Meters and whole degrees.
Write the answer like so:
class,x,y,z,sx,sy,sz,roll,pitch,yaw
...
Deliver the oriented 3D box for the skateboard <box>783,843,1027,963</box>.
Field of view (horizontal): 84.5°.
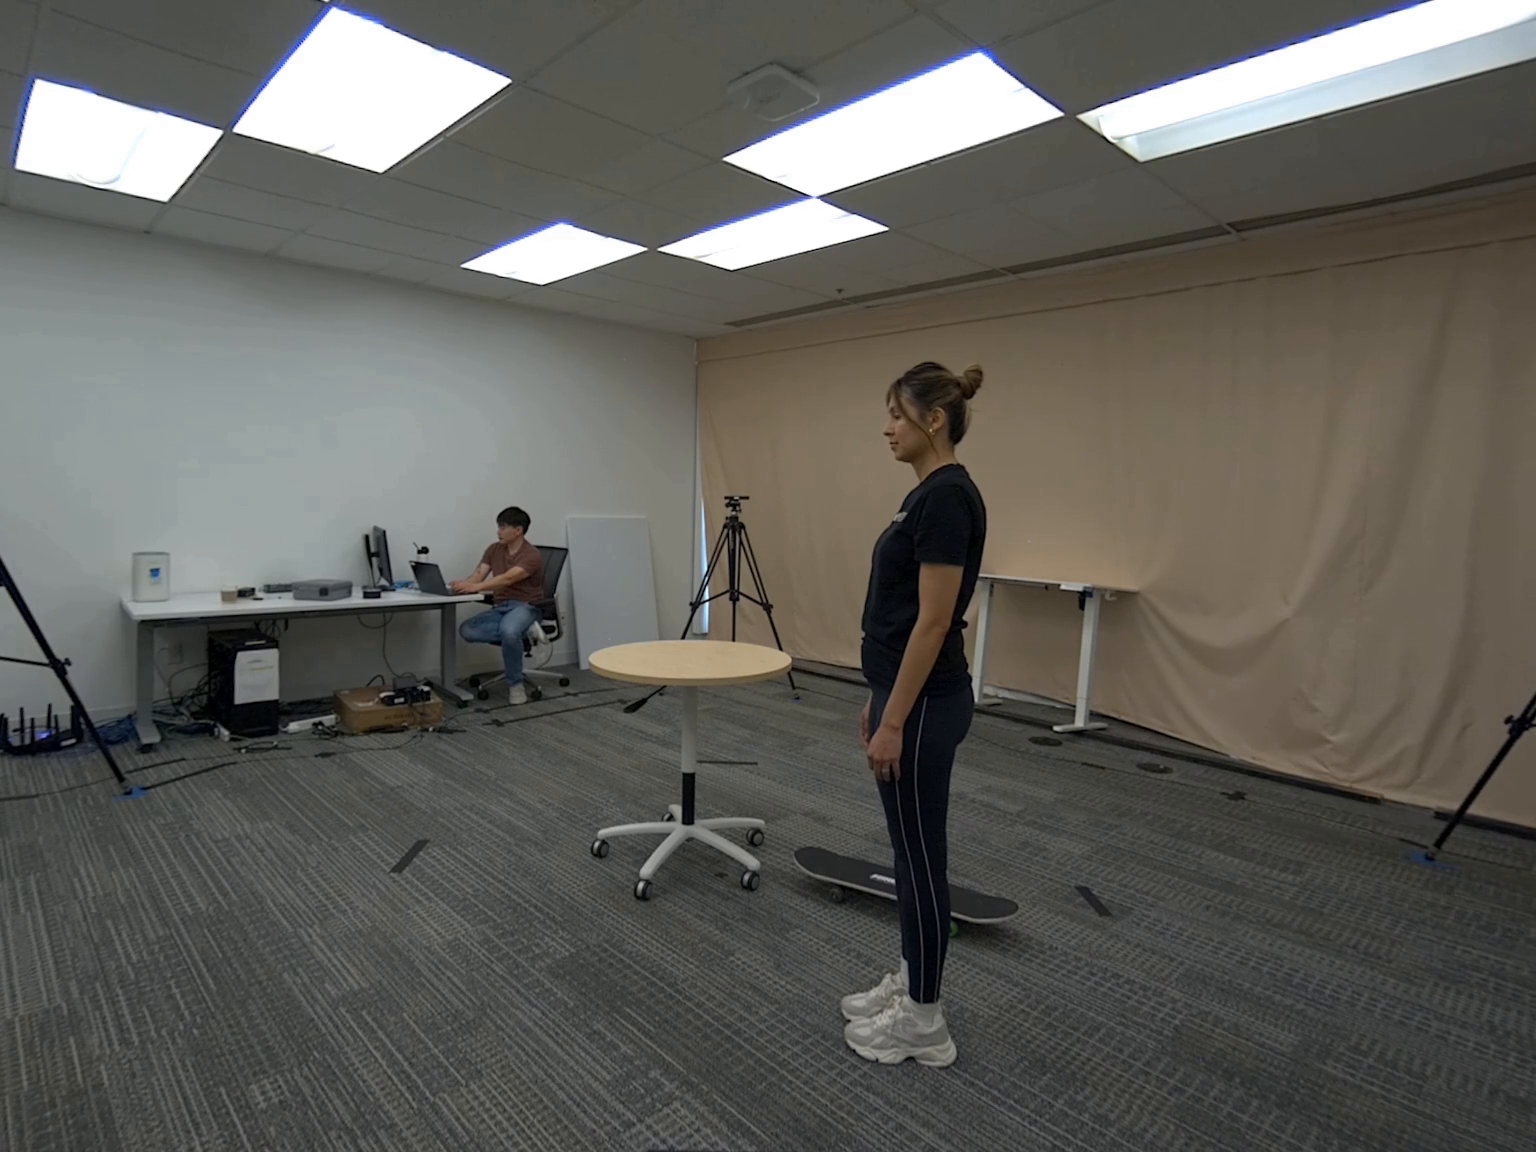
class,x,y,z,sx,sy,sz,roll,pitch,yaw
skateboard,0.444,1.088,2.871,0.803,0.110,0.190,5,6,31
